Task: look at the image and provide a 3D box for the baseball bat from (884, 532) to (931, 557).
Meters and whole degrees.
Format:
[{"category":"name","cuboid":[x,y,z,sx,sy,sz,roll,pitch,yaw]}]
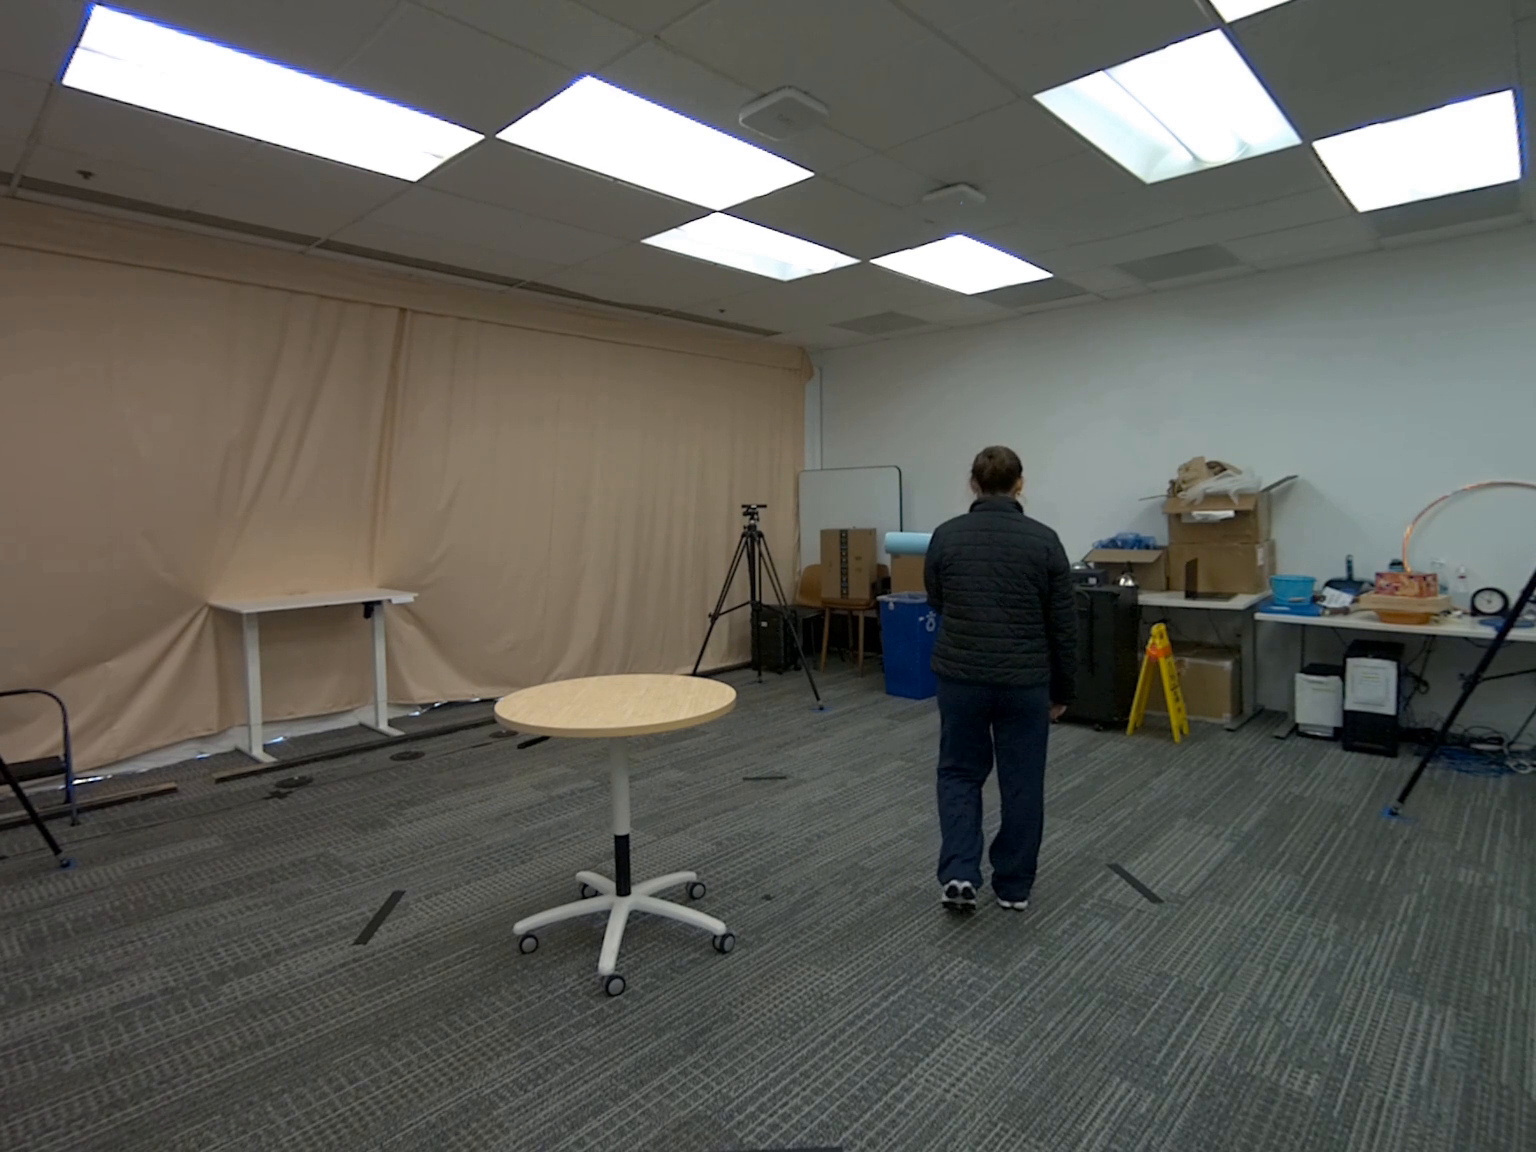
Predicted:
[{"category":"baseball bat","cuboid":[0.735,-0.108,3.214,0.552,0.089,0.088,4,5,15]}]
